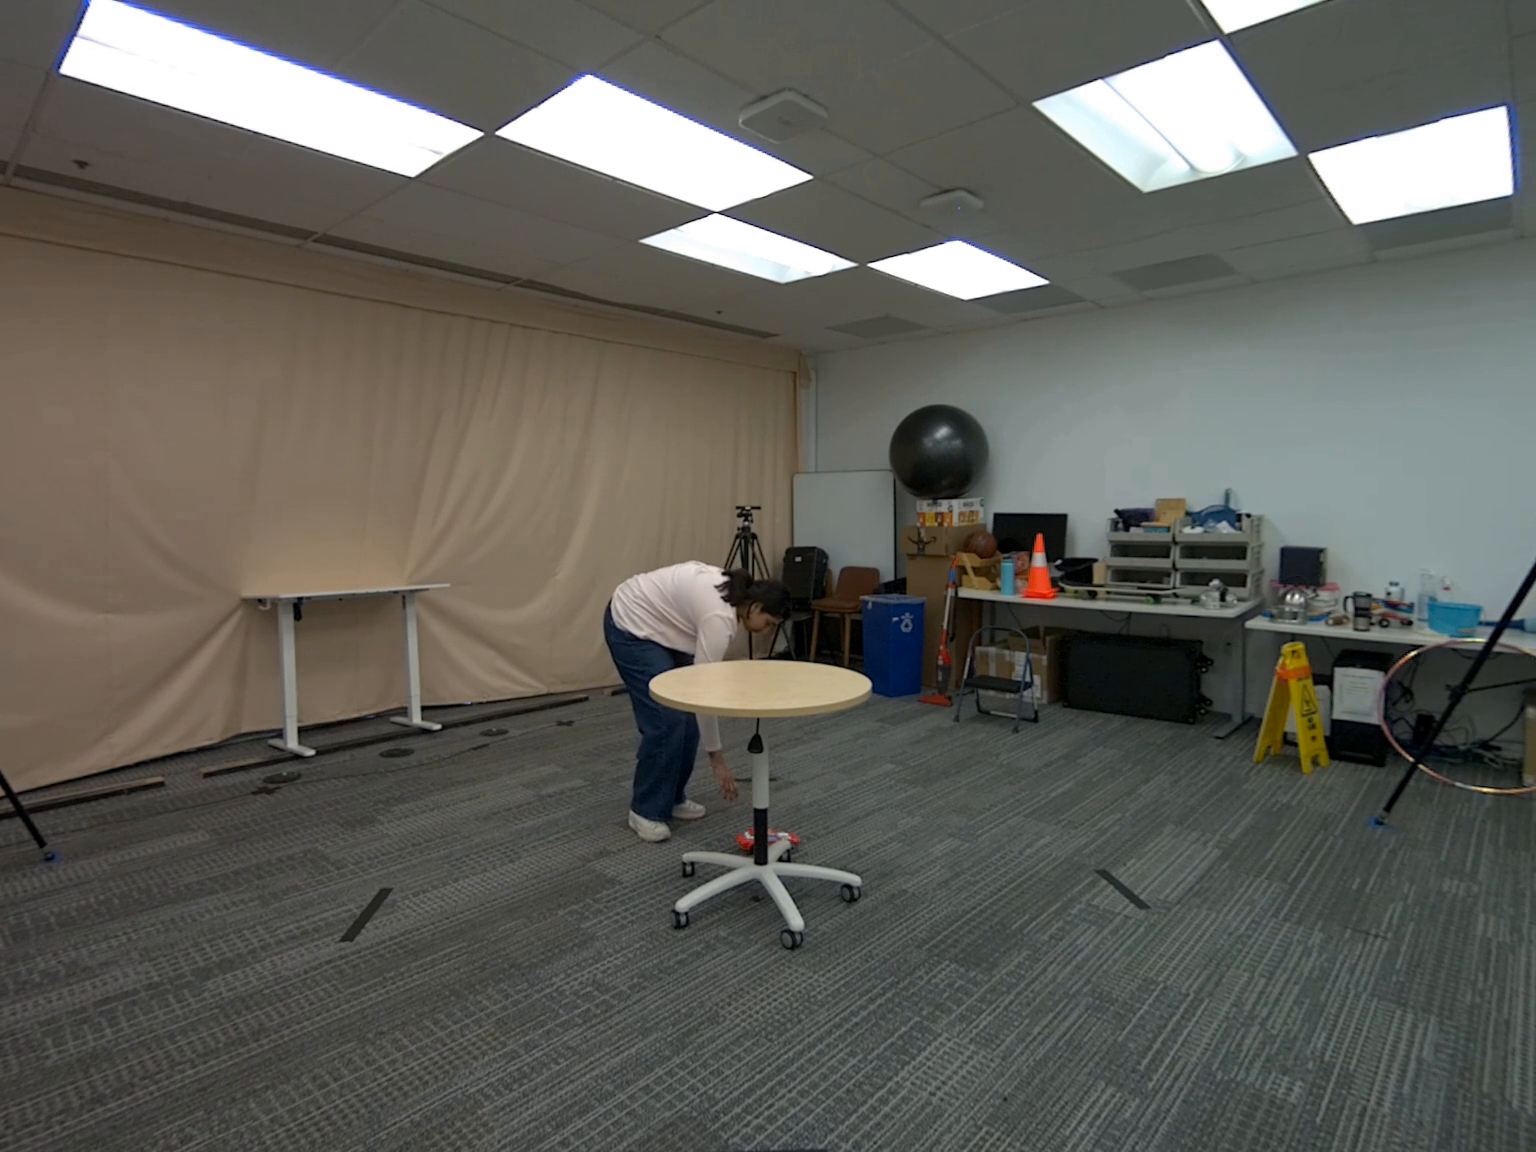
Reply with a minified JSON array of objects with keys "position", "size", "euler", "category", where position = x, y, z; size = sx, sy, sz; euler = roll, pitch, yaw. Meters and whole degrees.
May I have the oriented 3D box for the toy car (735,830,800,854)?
[{"position":[-0.011,1.073,3.407],"size":[0.251,0.083,0.132],"euler":[10,0,-11],"category":"toy car"}]
